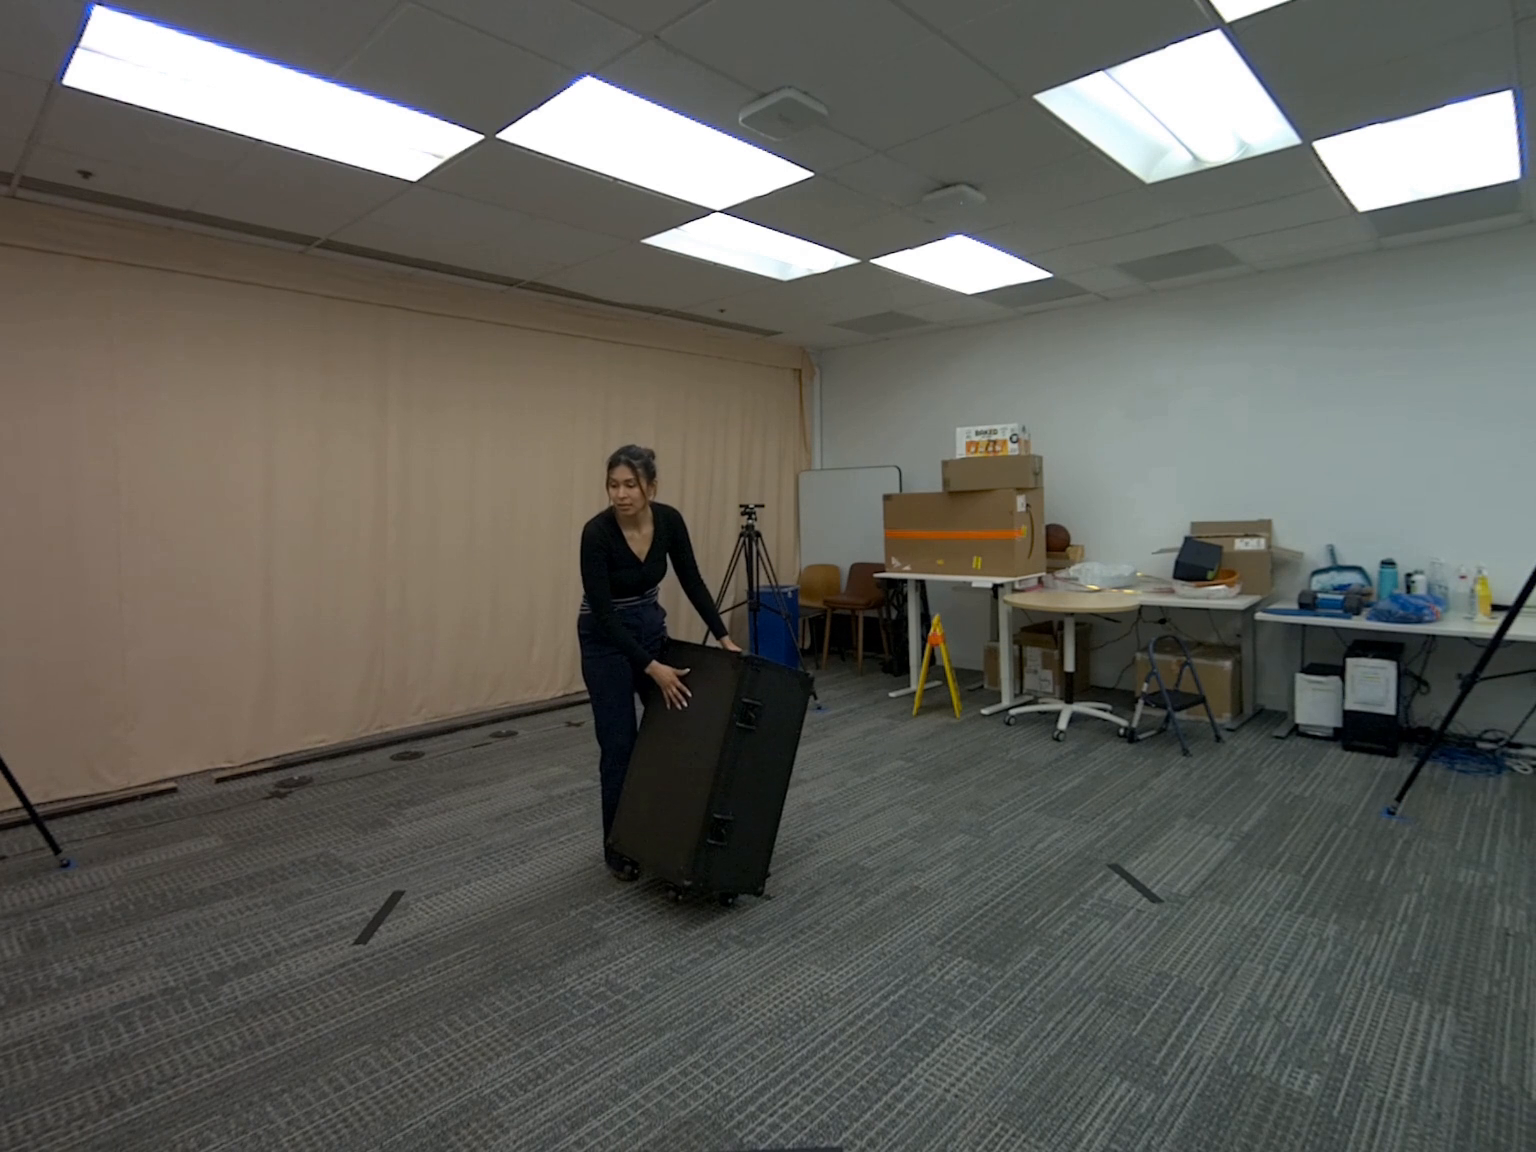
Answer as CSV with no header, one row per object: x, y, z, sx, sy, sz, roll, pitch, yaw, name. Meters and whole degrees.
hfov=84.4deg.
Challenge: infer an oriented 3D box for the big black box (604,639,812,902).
-0.176,0.643,3.045,0.382,0.864,0.538,21,-11,-38,big black box
